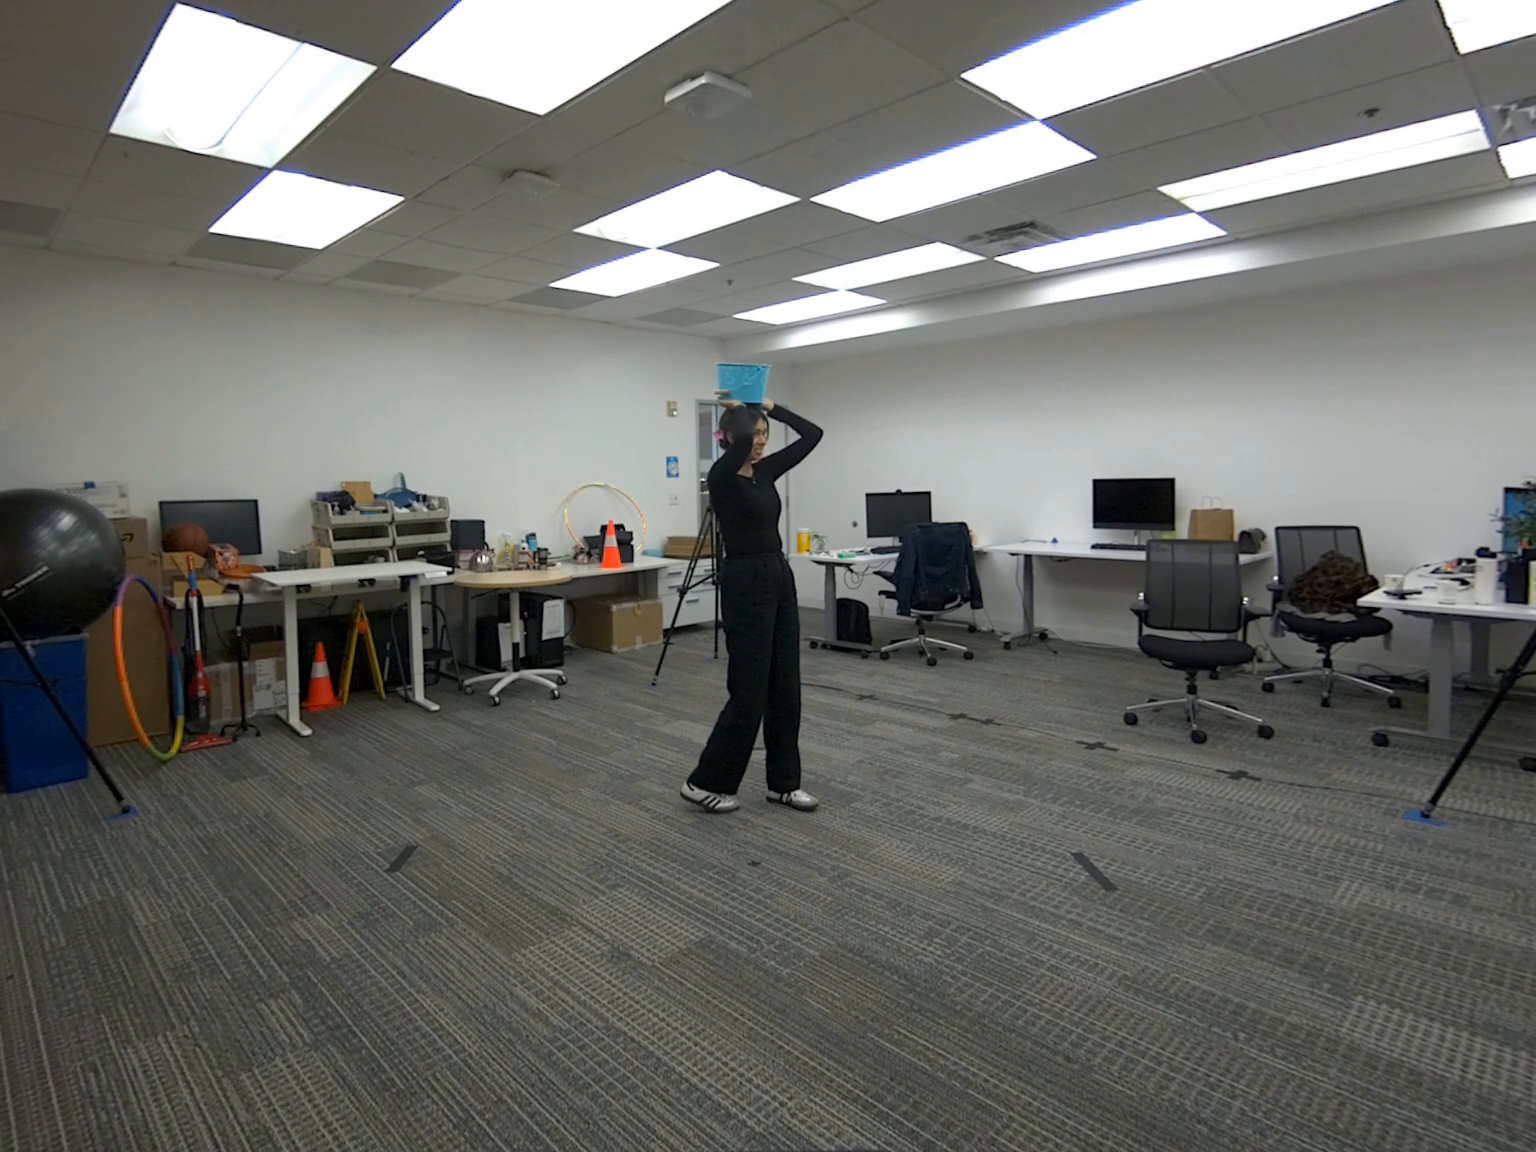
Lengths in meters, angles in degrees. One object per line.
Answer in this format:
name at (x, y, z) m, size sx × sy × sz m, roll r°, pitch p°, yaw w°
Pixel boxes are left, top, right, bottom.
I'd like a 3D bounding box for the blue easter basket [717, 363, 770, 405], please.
blue easter basket at (-0.116, -0.805, 3.559) m, size 0.243 × 0.154 × 0.246 m, roll 2°, pitch 11°, yaw -2°
